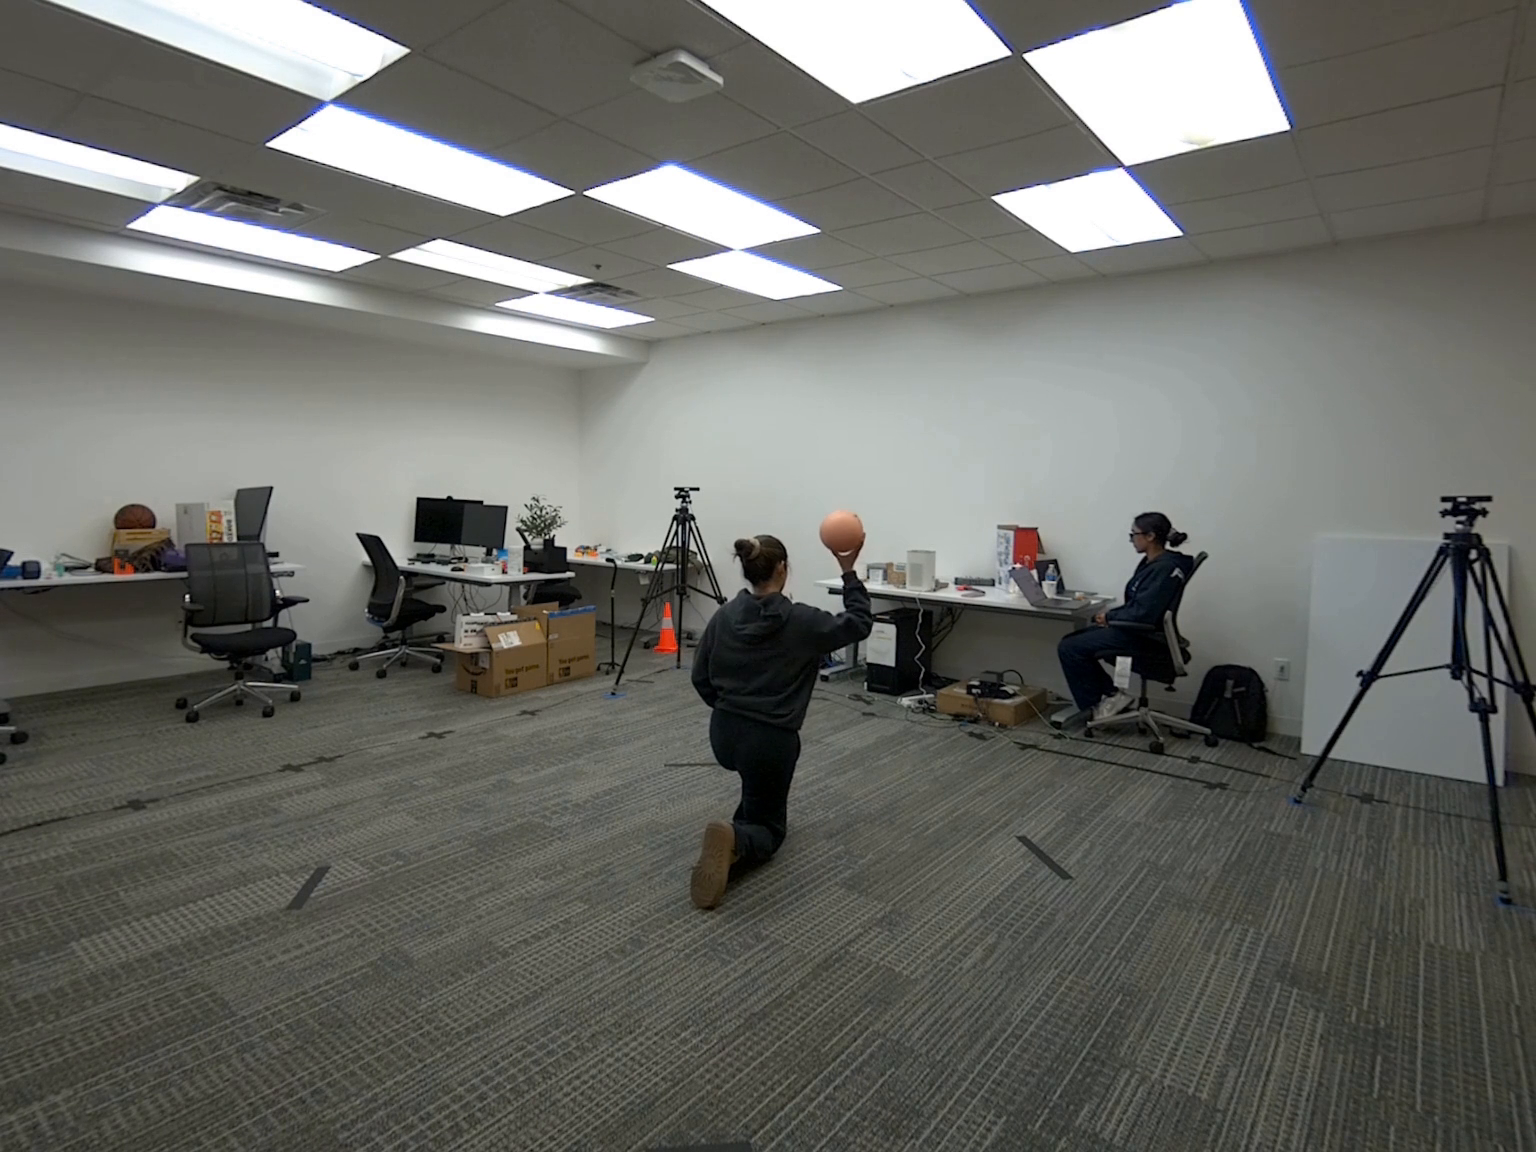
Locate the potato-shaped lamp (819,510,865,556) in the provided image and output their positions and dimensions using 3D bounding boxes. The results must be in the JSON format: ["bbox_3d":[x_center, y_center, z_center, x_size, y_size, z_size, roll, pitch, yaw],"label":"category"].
[{"bbox_3d":[0.288,-0.168,3.249,0.169,0.164,0.201,-6,6,-13],"label":"potato-shaped lamp"}]
